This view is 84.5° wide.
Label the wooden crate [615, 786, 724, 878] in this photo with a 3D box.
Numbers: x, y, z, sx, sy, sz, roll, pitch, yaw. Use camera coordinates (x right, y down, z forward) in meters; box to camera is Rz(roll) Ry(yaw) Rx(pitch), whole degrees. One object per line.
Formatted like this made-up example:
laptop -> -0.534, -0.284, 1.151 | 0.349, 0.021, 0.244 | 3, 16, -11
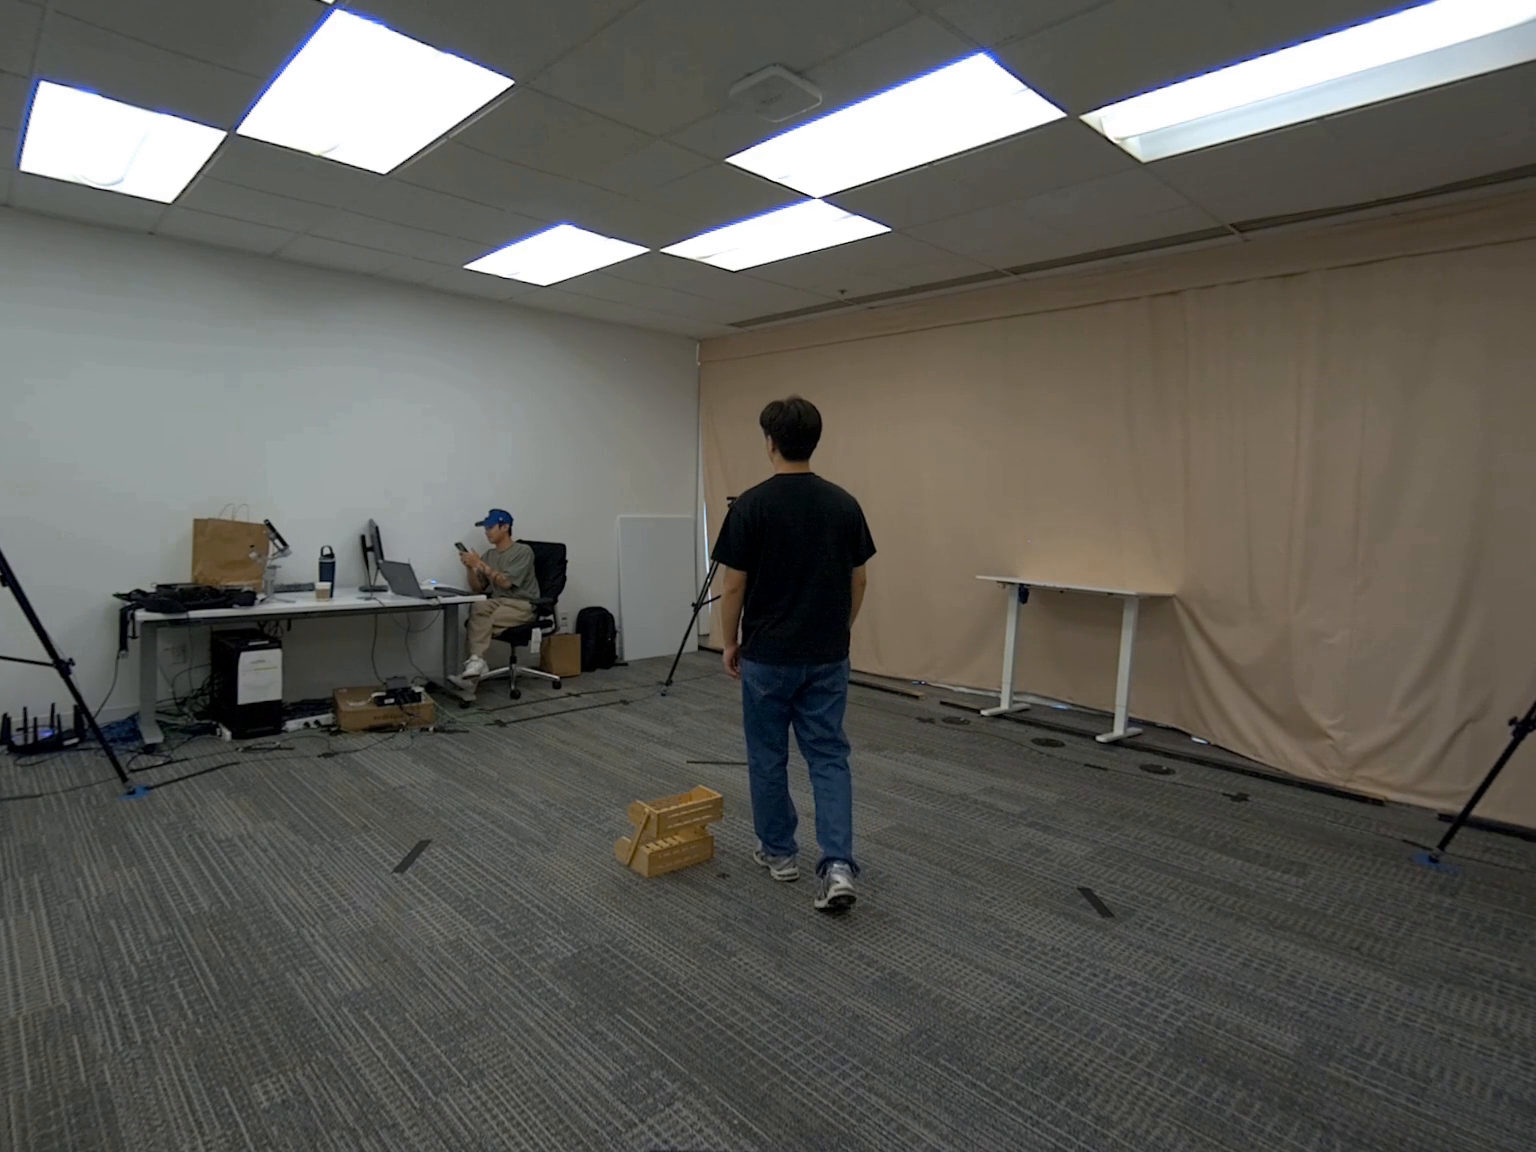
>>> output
wooden crate -> -0.391, 0.958, 3.231 | 0.317, 0.272, 0.310 | -2, 6, -40
